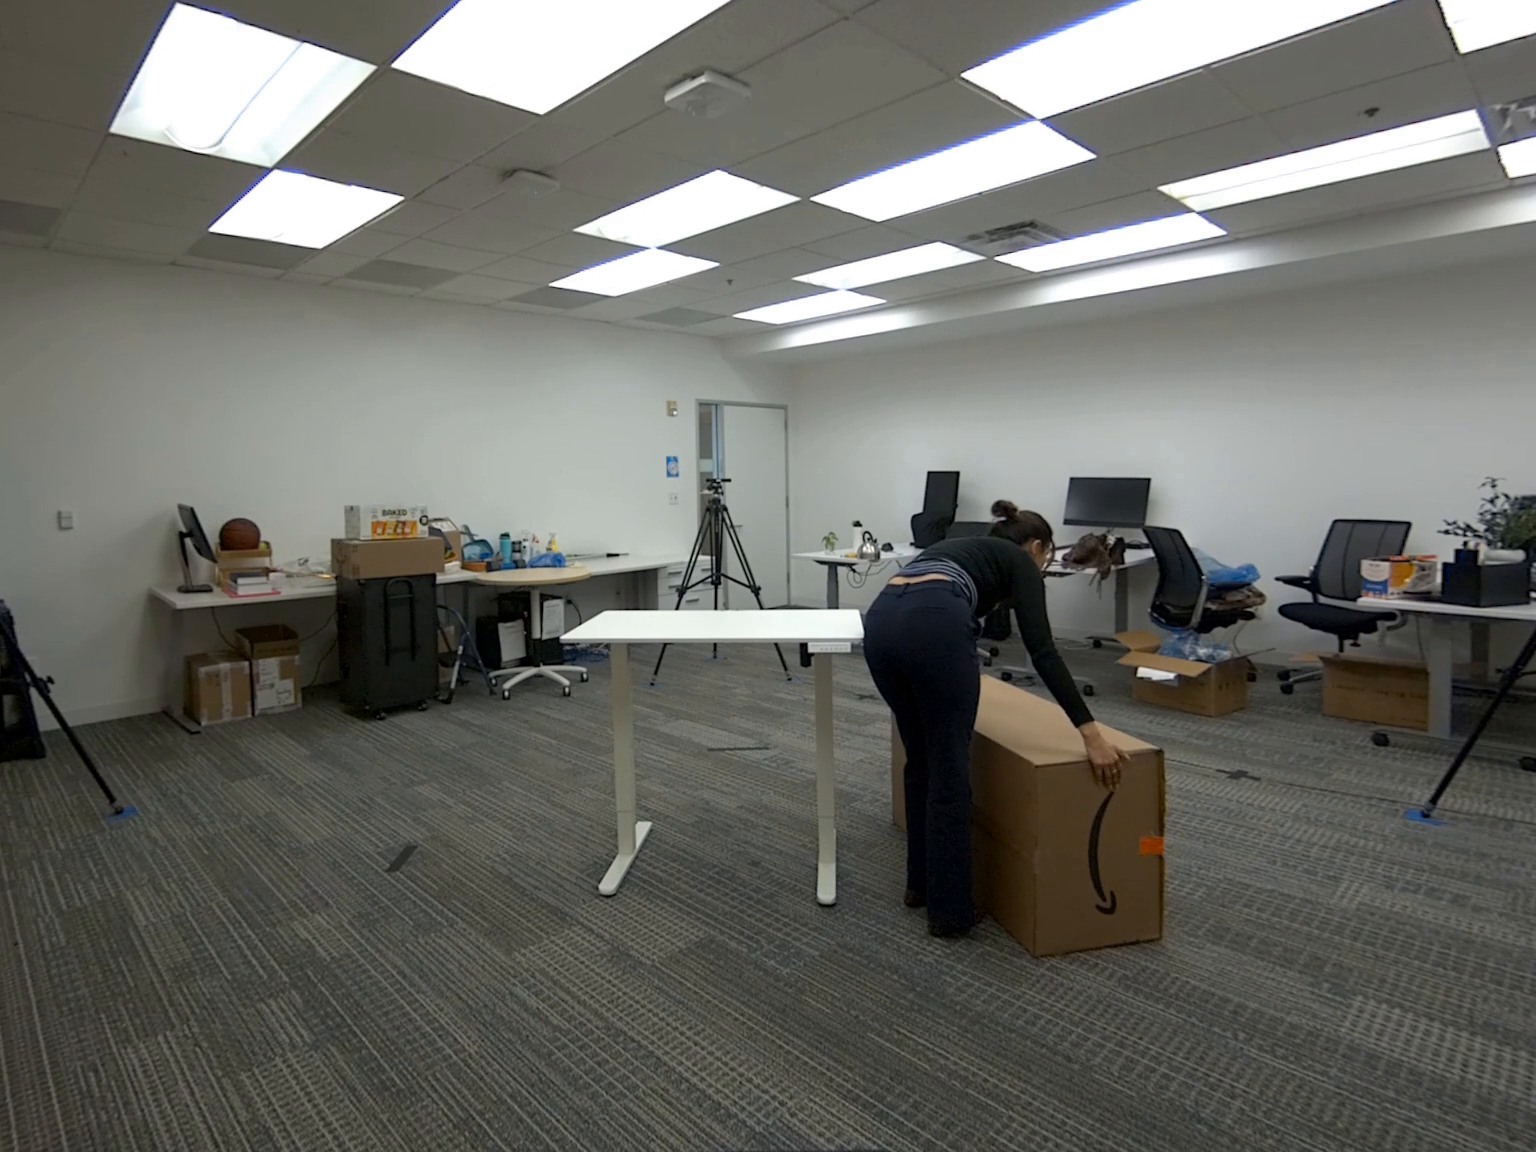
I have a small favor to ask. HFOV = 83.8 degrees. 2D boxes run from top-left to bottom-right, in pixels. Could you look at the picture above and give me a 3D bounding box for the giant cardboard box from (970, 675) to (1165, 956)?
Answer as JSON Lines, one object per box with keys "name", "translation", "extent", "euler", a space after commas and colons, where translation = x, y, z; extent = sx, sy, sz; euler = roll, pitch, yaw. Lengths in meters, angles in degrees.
{"name": "giant cardboard box", "translation": [0.842, 0.750, 2.984], "extent": [0.421, 0.575, 1.043], "euler": [-2, 6, -14]}
